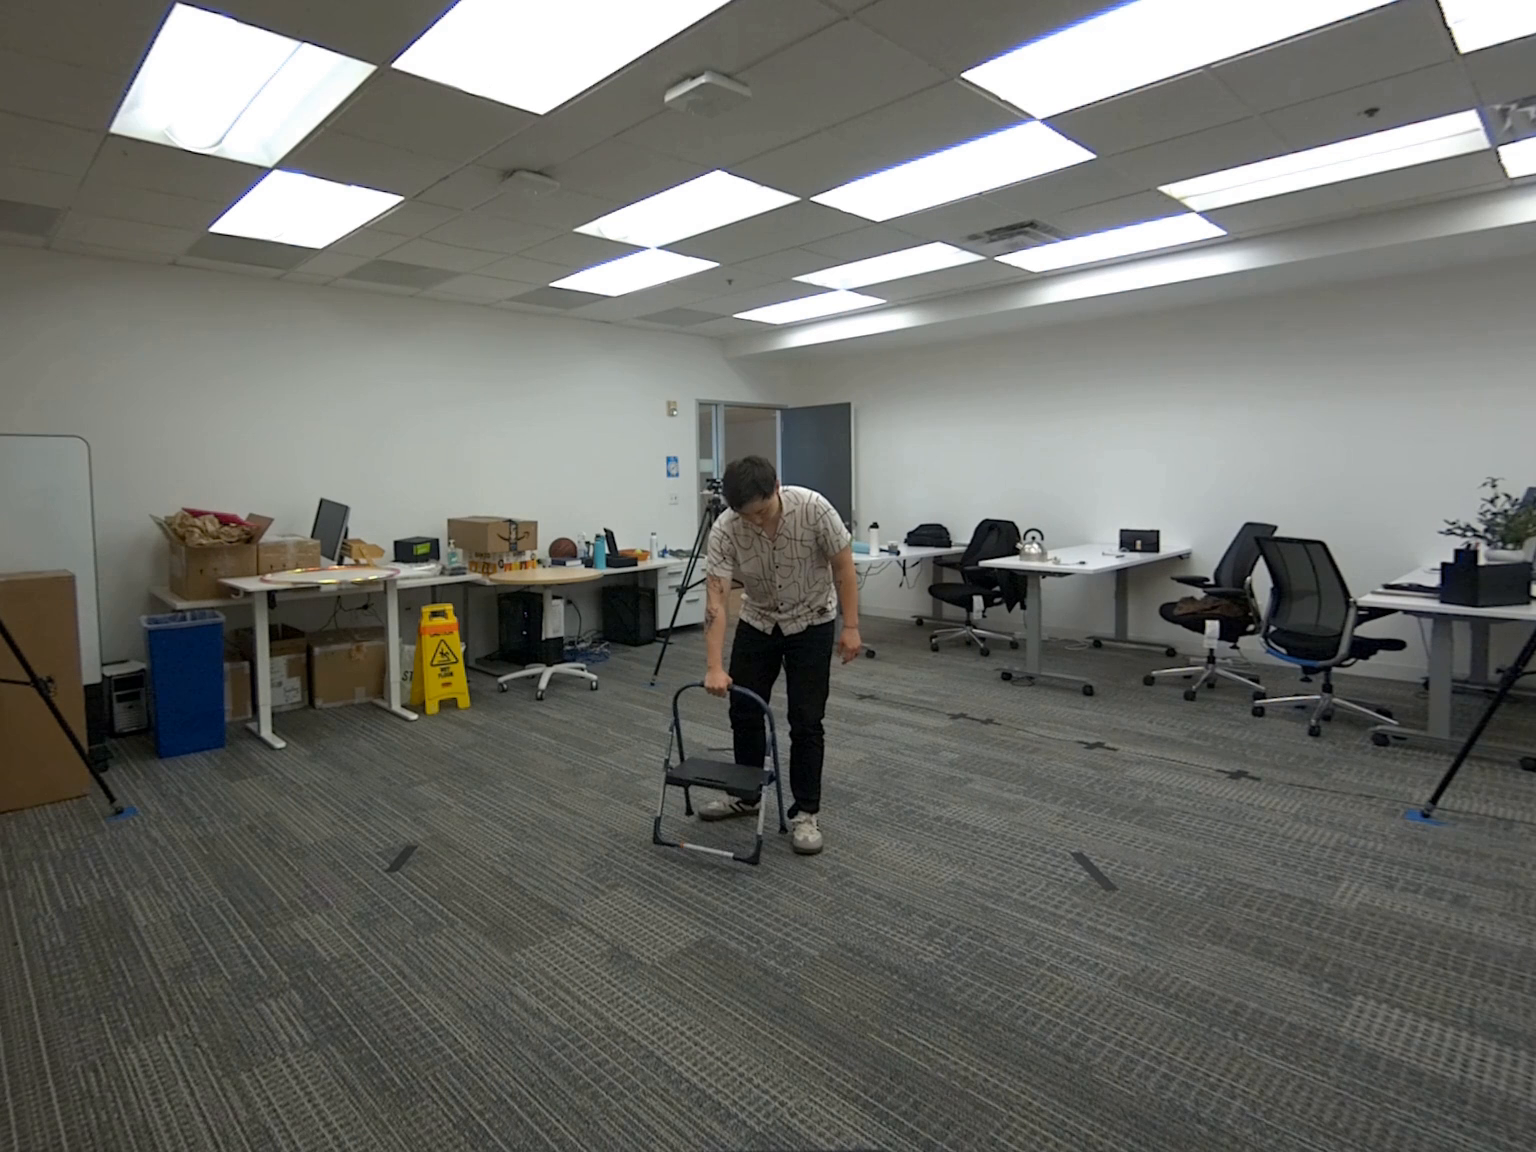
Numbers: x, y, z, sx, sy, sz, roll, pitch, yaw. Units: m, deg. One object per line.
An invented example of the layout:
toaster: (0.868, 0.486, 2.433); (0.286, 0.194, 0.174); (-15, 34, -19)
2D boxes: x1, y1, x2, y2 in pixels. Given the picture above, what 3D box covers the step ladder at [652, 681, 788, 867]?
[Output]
step ladder: (-0.171, 0.686, 3.204); (0.439, 0.604, 0.343); (3, 4, 21)
